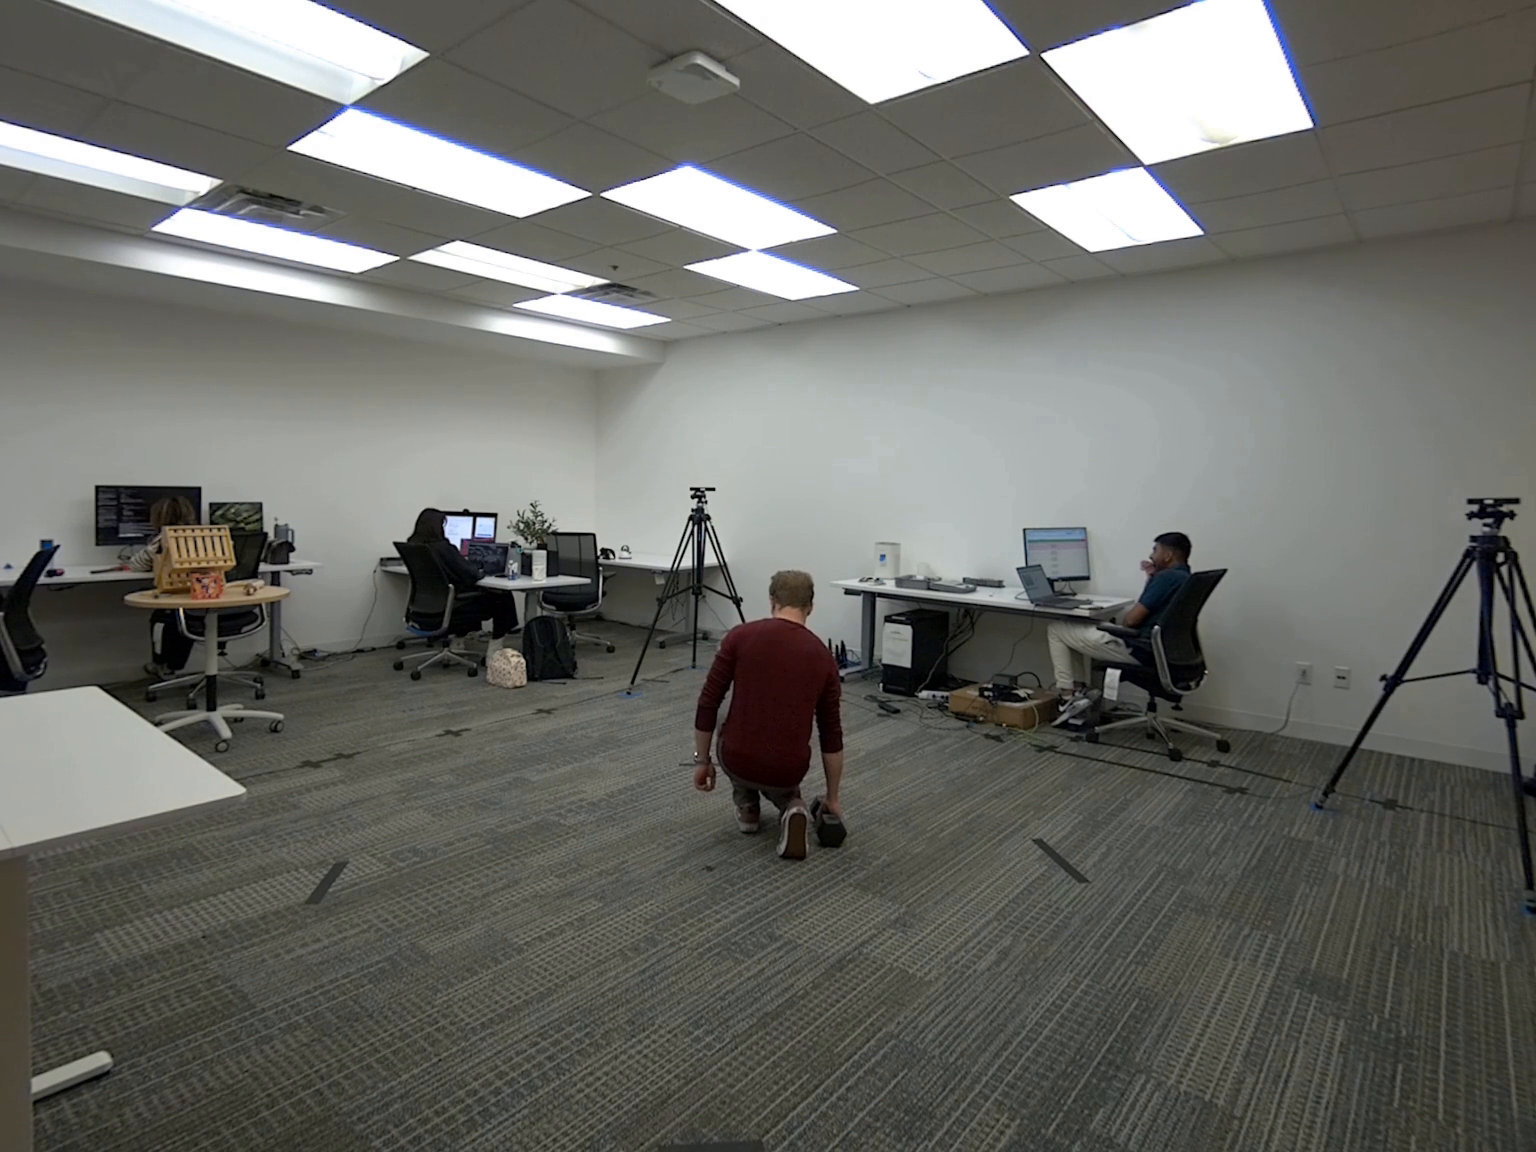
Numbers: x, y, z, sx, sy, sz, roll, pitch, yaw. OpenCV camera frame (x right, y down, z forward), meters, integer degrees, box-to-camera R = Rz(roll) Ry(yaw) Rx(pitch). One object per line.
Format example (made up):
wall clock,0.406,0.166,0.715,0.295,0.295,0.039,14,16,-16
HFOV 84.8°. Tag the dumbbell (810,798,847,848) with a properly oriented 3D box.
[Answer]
dumbbell,0.231,0.989,3.446,0.109,0.122,0.296,-30,7,0
